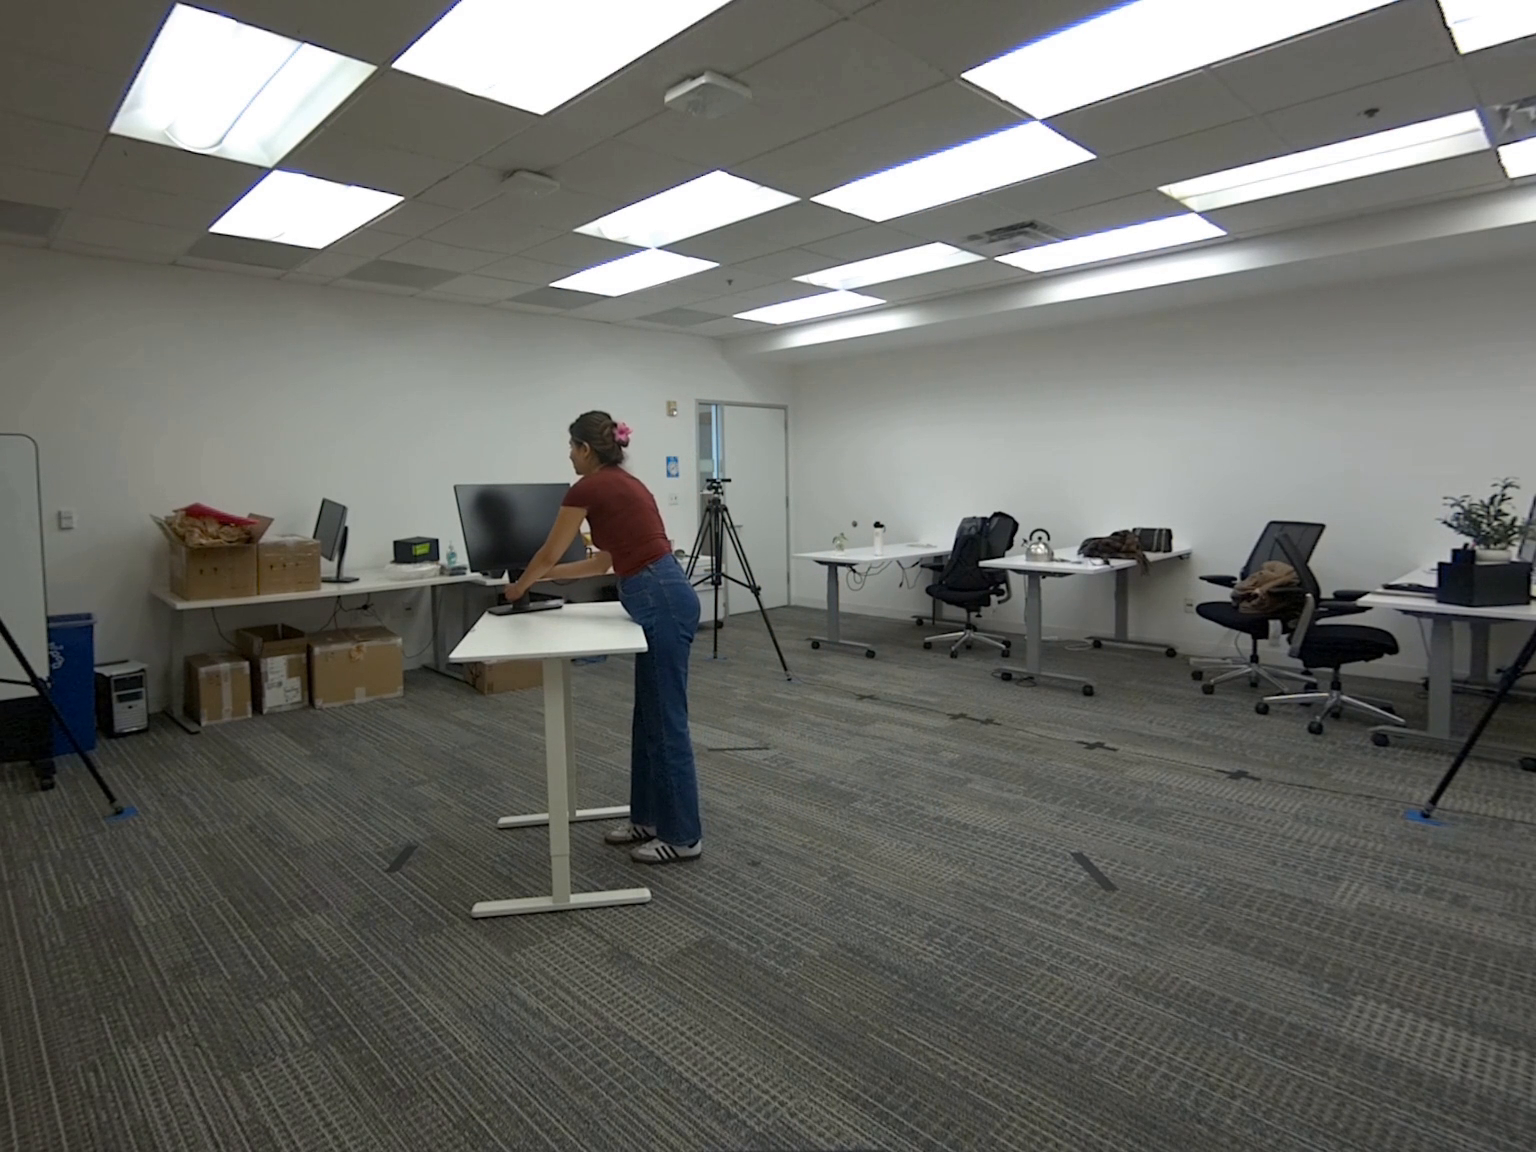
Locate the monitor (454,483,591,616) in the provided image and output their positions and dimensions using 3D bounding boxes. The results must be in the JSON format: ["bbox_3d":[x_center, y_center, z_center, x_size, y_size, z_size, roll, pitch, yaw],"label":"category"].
[{"bbox_3d":[-1.001,-0.117,3.468,0.192,0.522,0.525,-4,1,45],"label":"monitor"}]
